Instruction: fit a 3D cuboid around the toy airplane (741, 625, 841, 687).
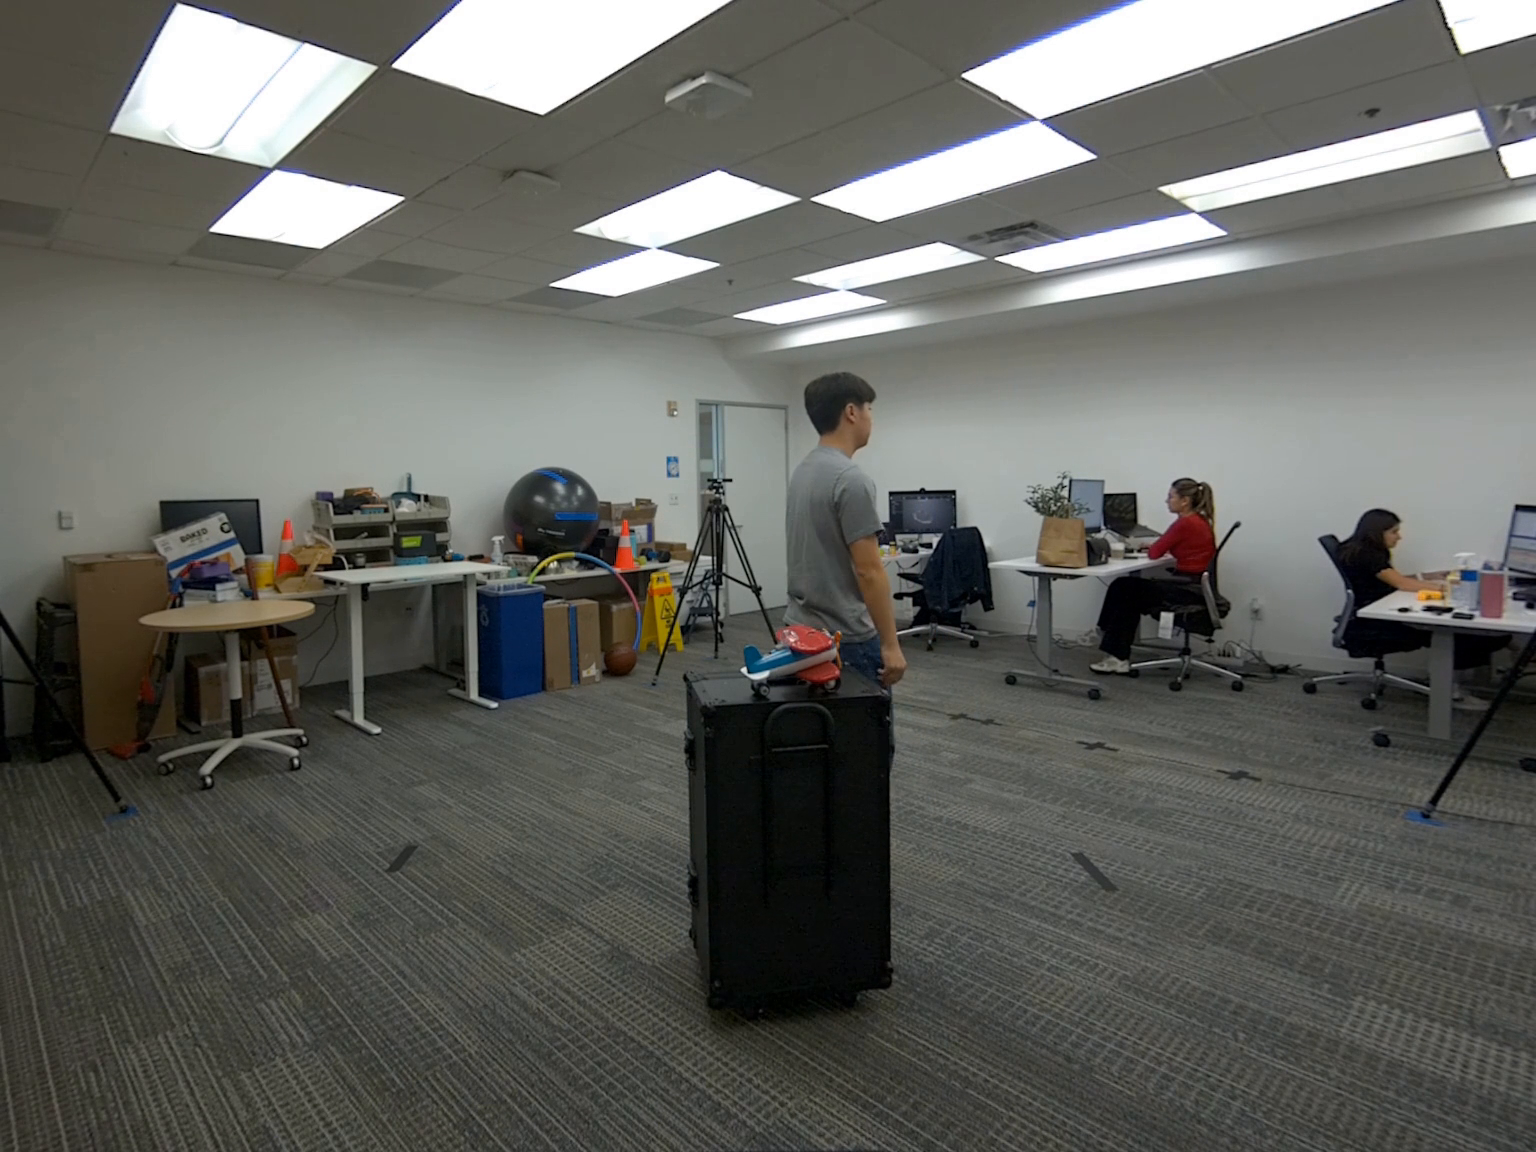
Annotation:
[{"bbox_3d":[0.075,0.226,2.191,0.259,0.156,0.252,4,8,43],"label":"toy airplane"}]
